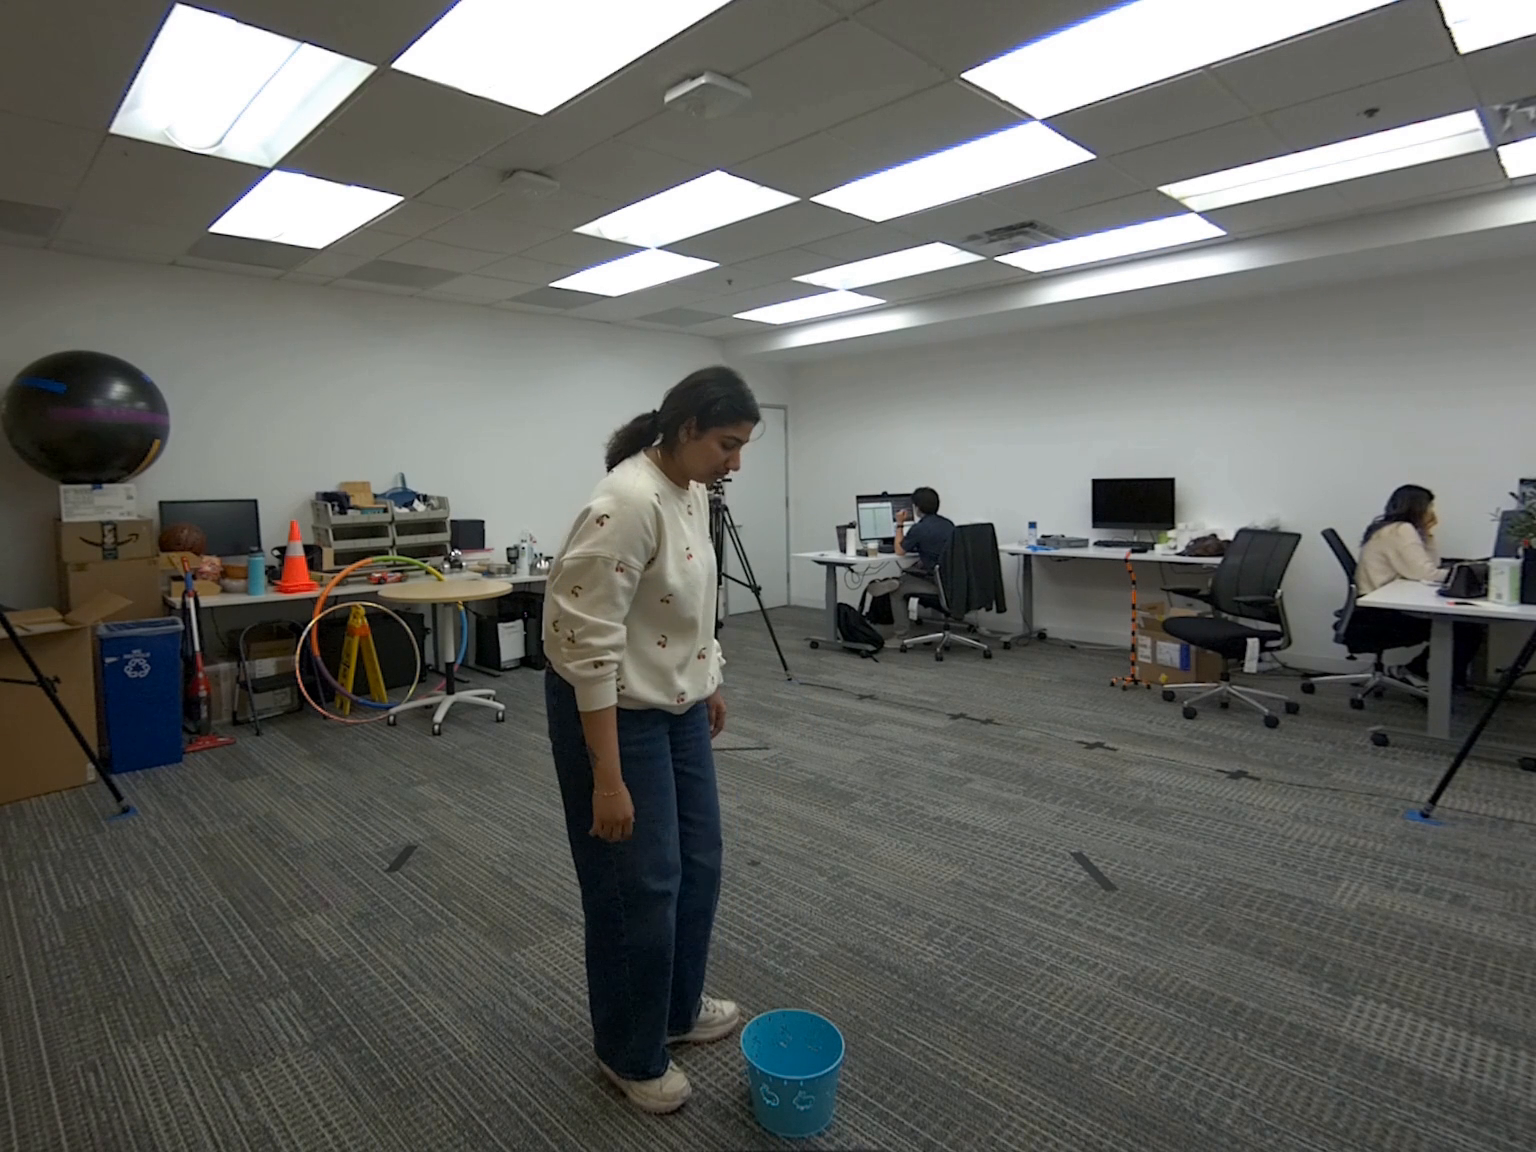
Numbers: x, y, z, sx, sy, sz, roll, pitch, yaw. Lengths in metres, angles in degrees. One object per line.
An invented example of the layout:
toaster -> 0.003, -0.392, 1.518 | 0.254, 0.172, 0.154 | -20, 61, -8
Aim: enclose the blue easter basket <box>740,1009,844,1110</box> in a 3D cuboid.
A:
blue easter basket -> 0.063, 1.100, 1.908 | 0.243, 0.155, 0.245 | -1, 6, -2
